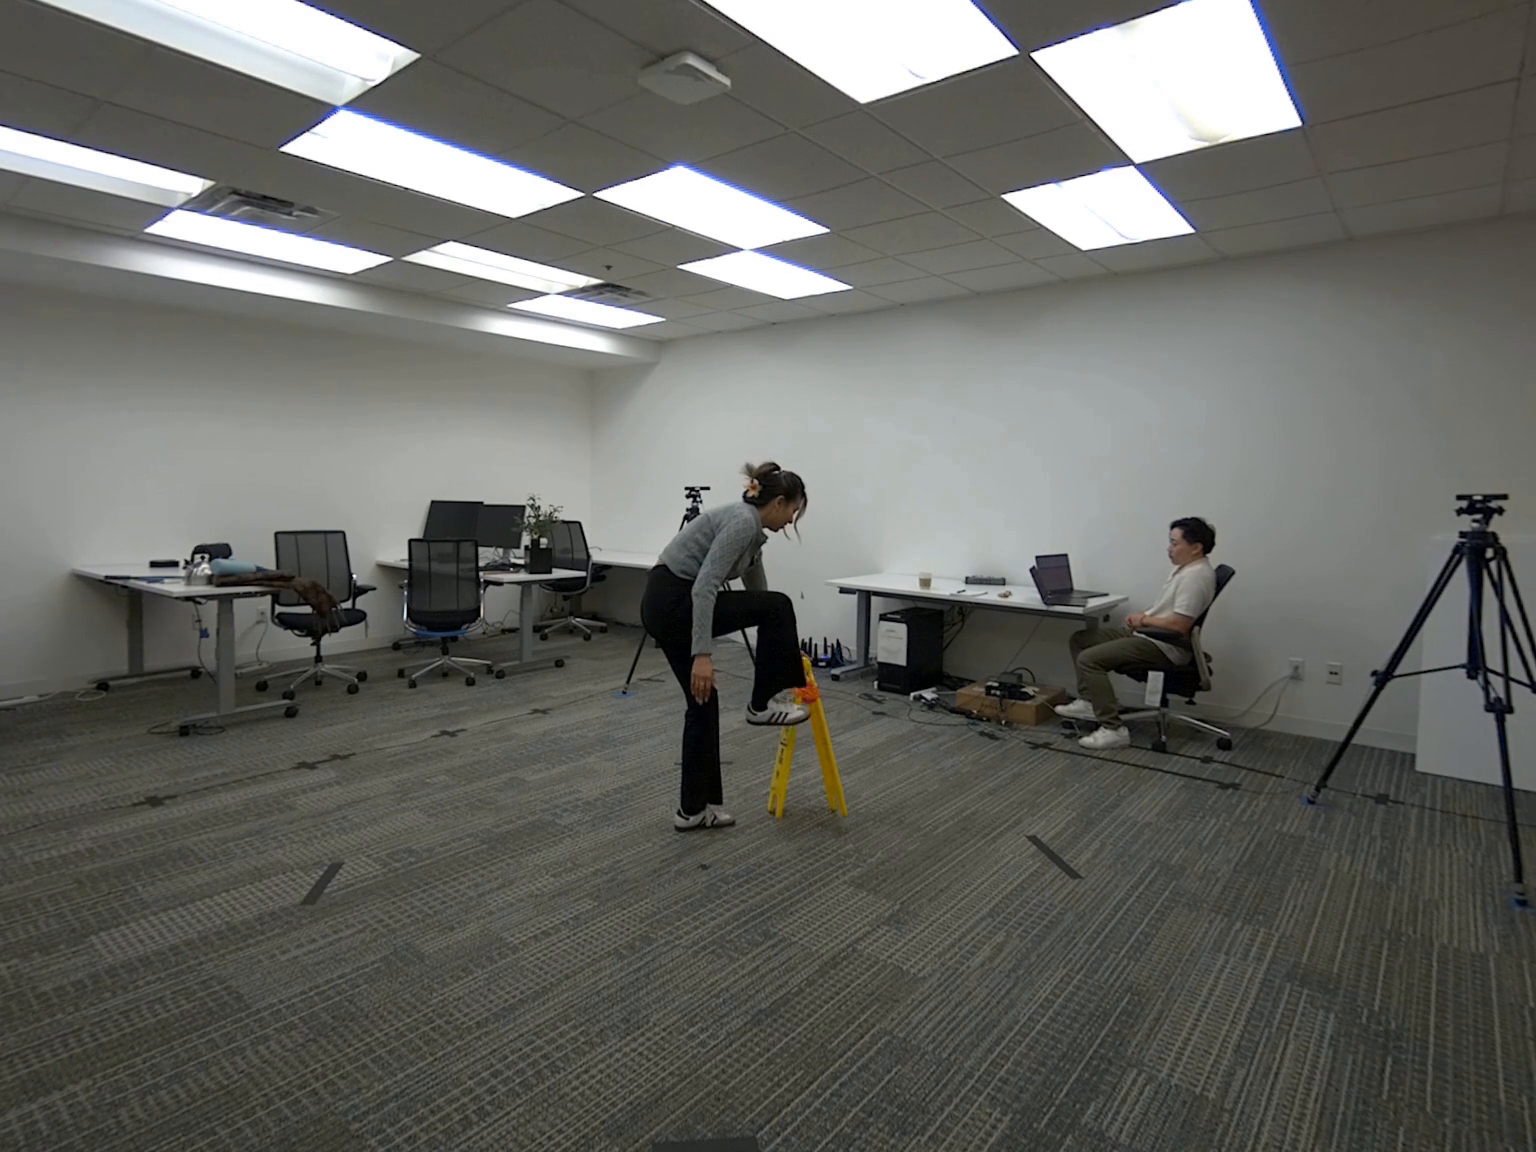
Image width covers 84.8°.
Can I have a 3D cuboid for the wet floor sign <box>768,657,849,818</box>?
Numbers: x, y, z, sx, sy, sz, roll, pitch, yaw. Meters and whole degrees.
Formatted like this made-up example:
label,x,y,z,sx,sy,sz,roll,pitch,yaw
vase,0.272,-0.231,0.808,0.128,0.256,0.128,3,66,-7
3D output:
label,x,y,z,sx,sy,sz,roll,pitch,yaw
wet floor sign,0.148,0.680,3.632,0.288,0.651,0.282,1,-8,-7
